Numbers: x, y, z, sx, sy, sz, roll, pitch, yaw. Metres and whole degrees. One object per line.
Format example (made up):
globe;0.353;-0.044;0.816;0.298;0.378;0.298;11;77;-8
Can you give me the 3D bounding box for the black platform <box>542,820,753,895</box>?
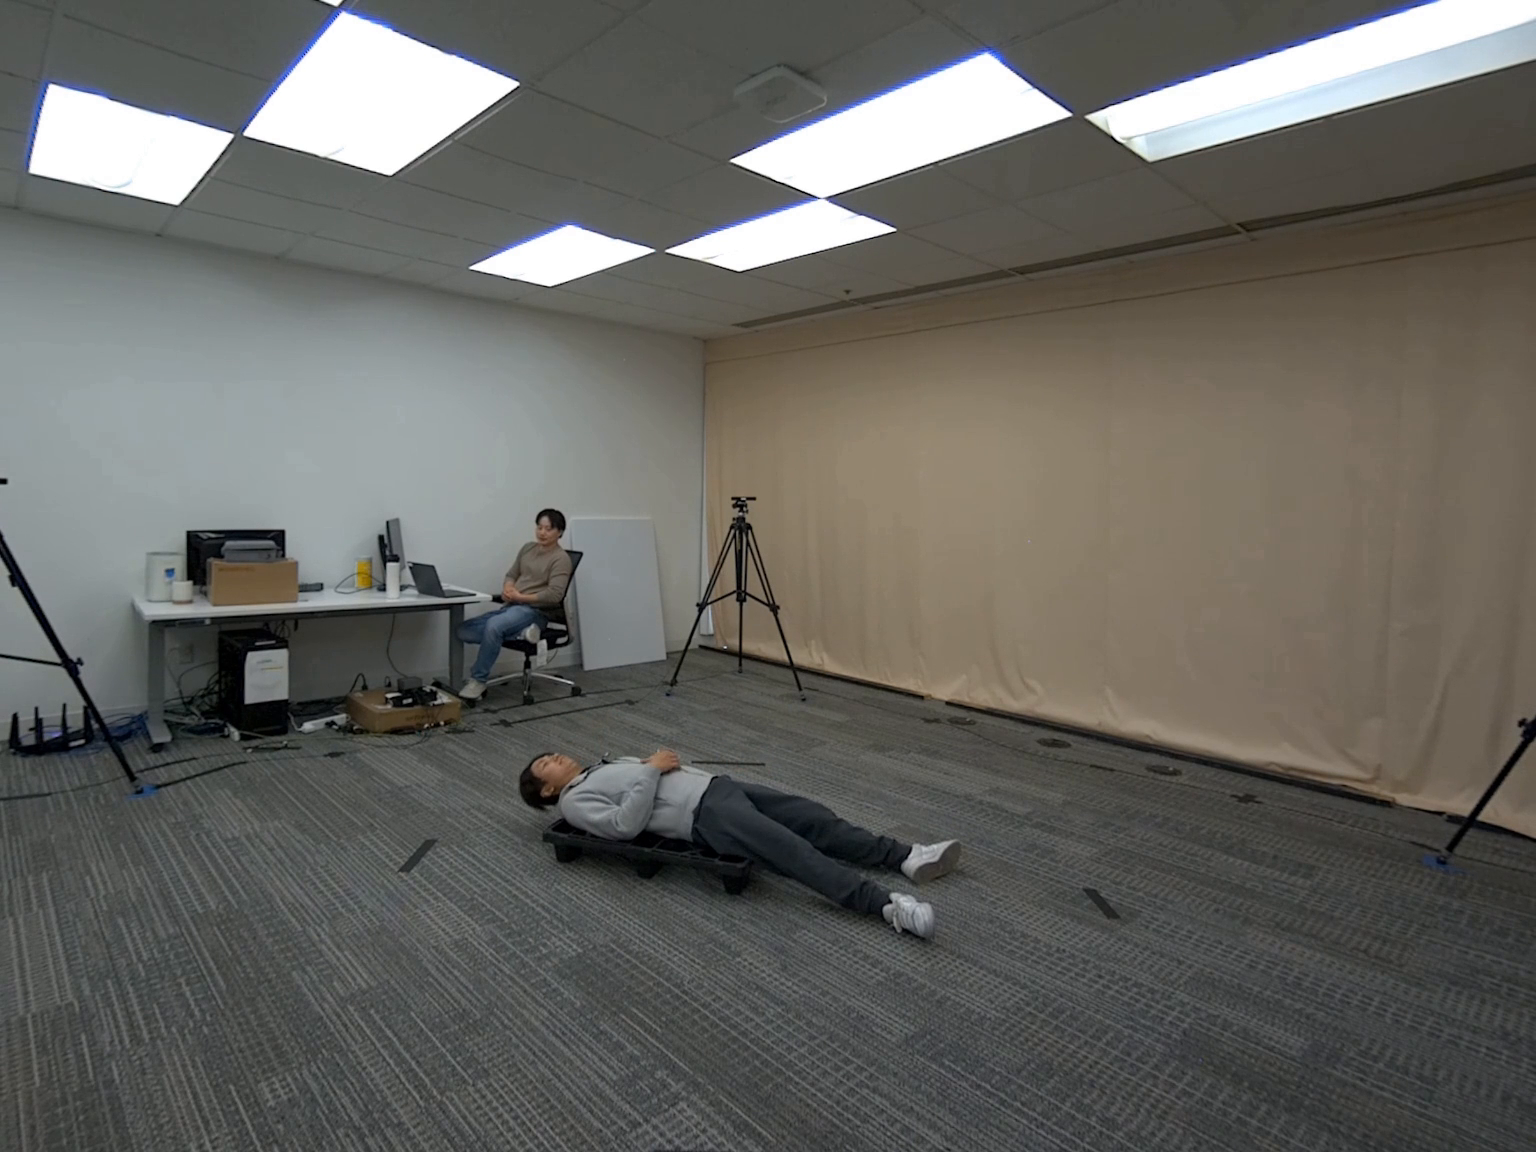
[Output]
black platform;-0.389;1.006;3.289;0.818;0.143;0.598;1;7;19
